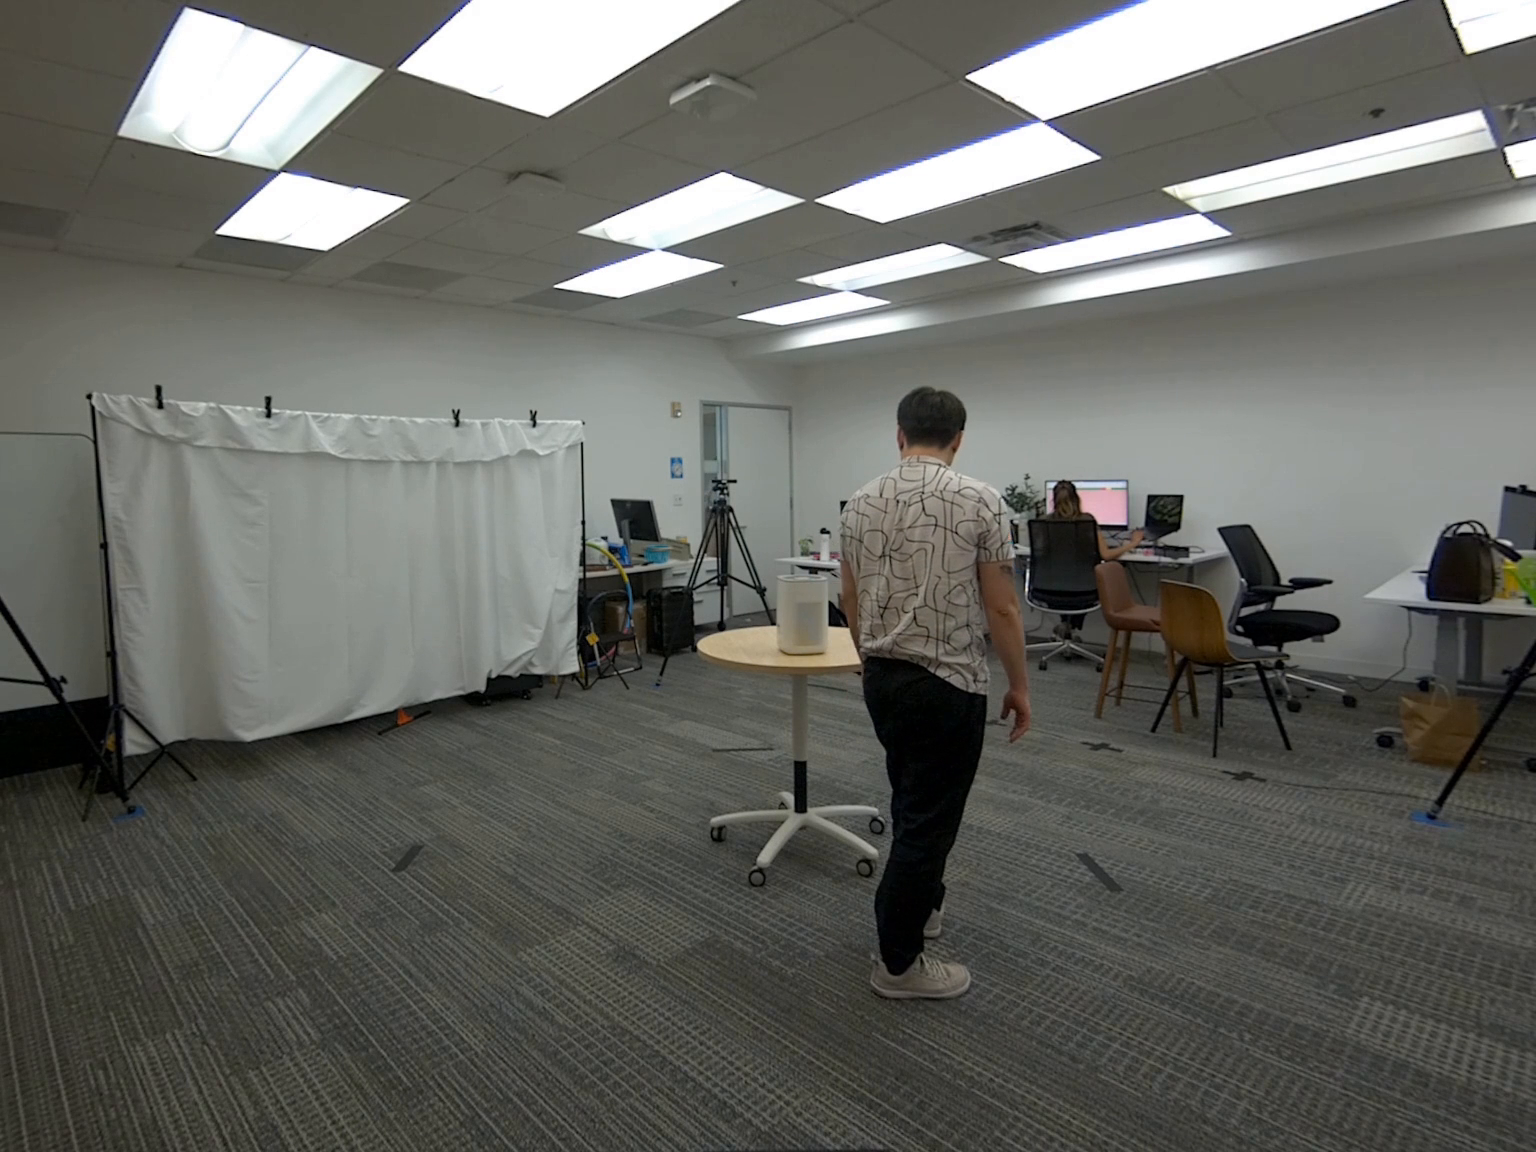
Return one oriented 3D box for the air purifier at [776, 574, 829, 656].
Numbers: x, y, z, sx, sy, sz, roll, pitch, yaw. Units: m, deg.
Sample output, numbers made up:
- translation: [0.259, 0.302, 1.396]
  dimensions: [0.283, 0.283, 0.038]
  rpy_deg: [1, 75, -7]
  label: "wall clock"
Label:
- translation: [0.125, 0.139, 3.052]
  dimensions: [0.170, 0.264, 0.174]
  rpy_deg: [-1, 7, -11]
  label: "air purifier"
